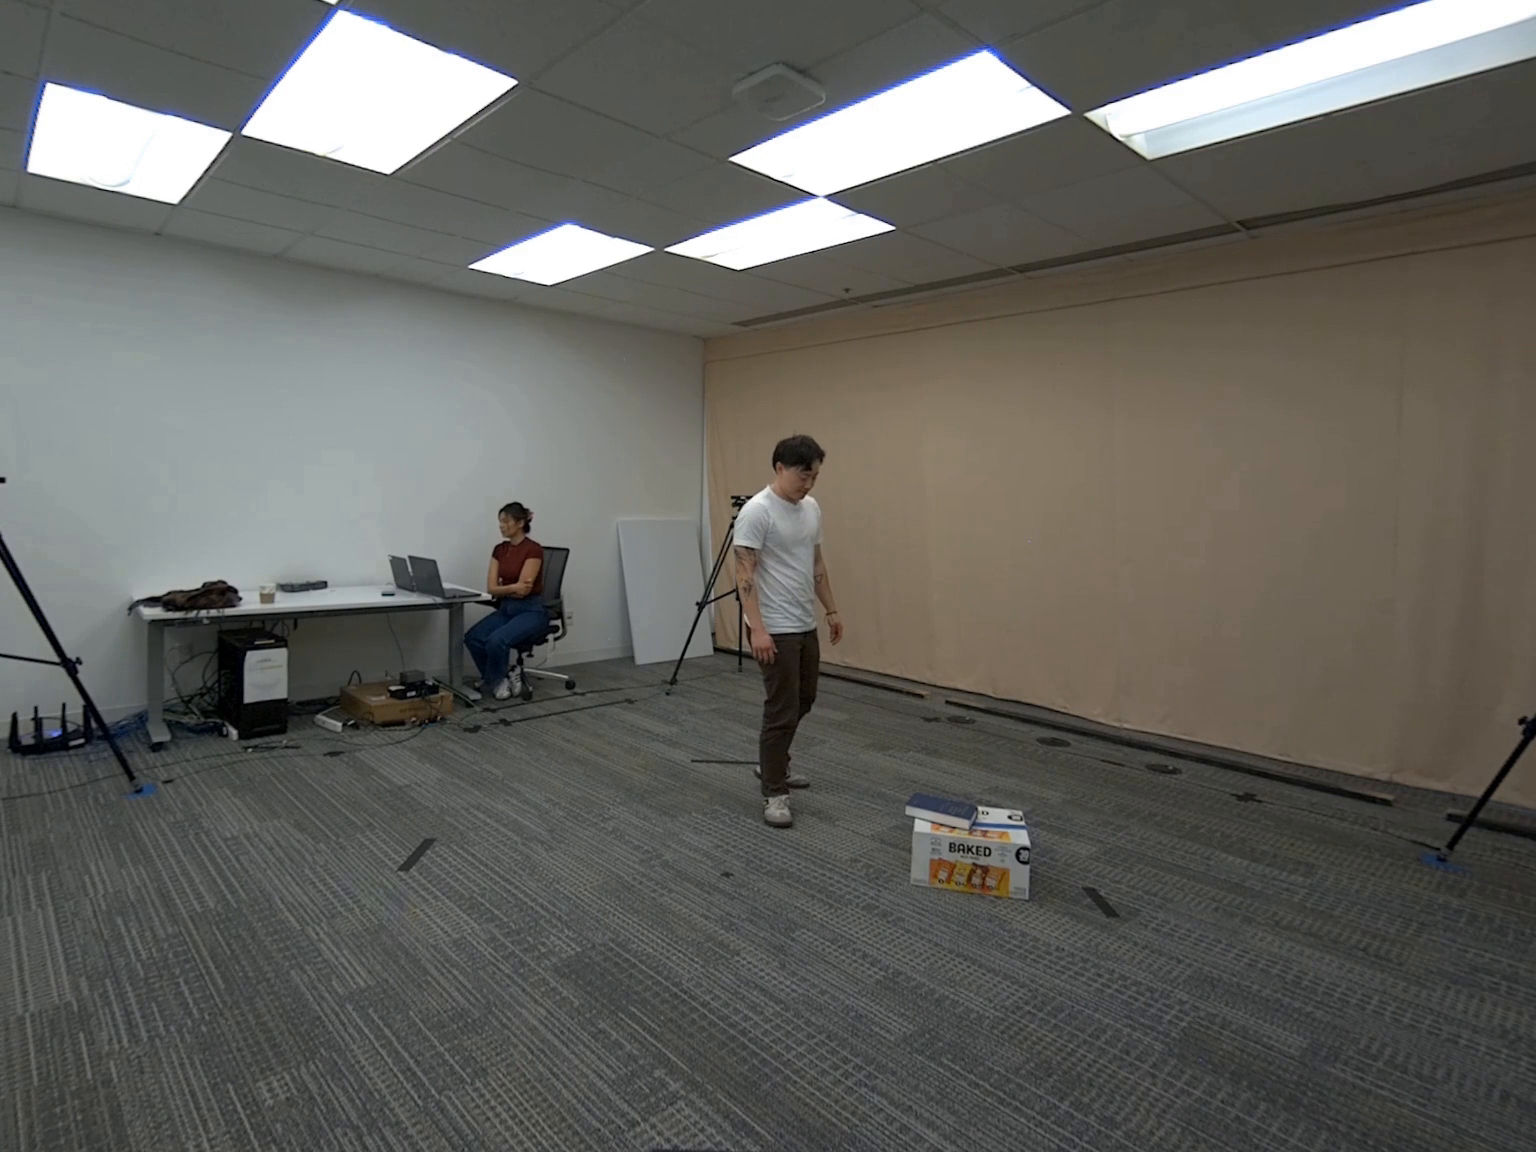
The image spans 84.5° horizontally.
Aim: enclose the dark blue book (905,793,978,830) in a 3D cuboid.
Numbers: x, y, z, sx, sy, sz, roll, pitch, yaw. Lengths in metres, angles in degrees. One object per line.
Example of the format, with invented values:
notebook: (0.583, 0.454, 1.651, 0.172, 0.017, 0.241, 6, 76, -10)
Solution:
dark blue book: (0.660, 0.896, 3.198, 0.250, 0.045, 0.161, 7, 6, 24)
